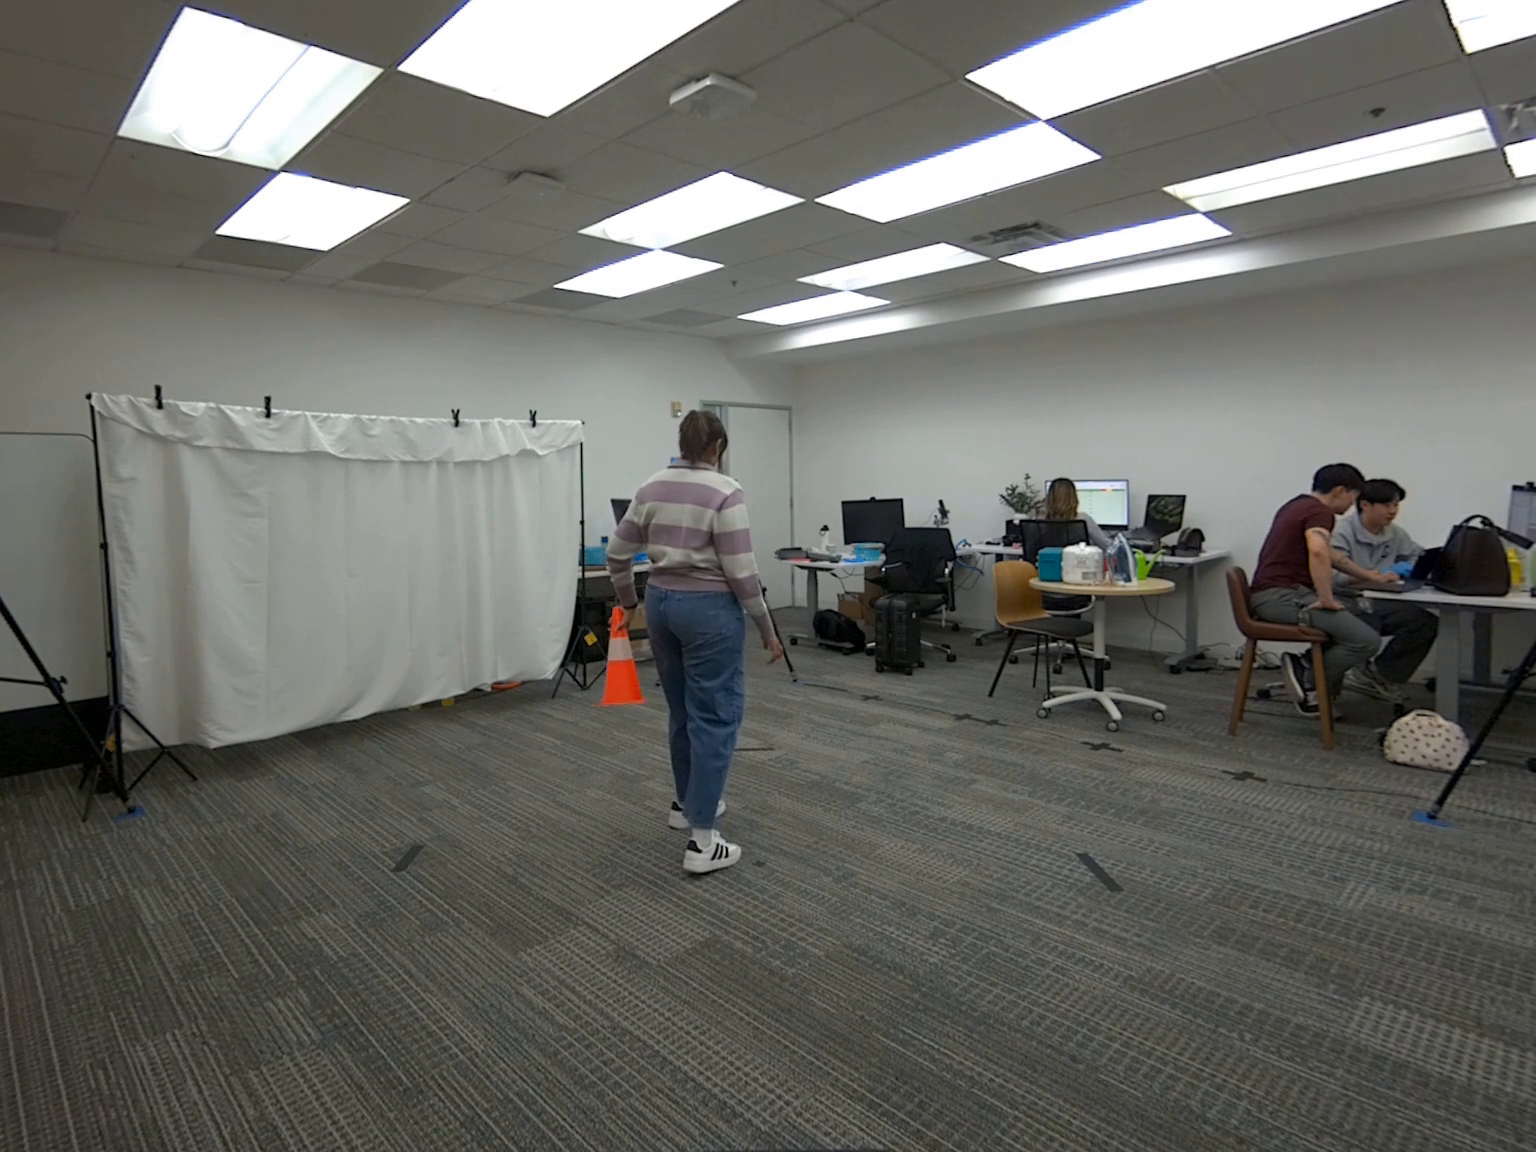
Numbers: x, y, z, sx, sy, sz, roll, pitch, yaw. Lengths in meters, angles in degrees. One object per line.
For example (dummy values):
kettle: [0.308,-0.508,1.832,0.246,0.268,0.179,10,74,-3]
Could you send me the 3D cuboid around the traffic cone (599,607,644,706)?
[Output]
traffic cone: [-0.593,0.321,3.460,0.204,0.385,0.203,-6,-3,5]
